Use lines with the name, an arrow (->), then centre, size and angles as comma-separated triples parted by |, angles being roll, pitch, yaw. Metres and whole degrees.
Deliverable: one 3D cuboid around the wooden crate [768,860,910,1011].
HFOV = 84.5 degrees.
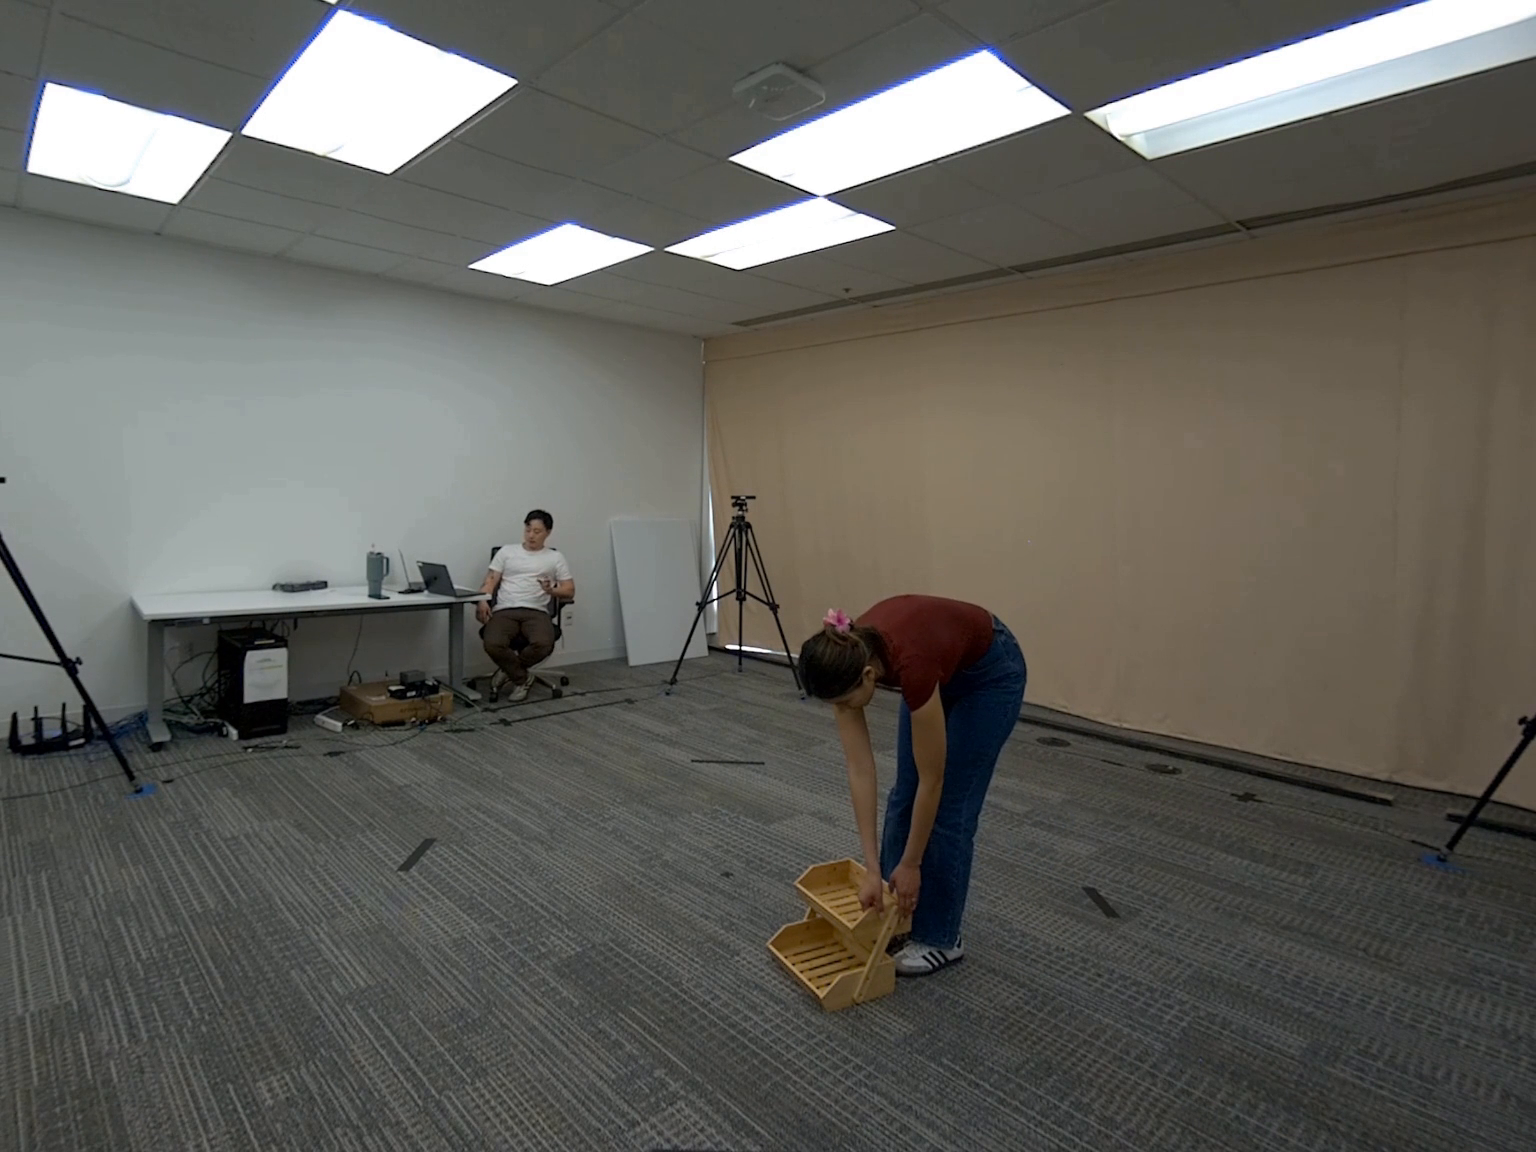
wooden crate -> 0.196, 1.033, 2.467 | 0.296, 0.272, 0.332 | 0, 5, -29
